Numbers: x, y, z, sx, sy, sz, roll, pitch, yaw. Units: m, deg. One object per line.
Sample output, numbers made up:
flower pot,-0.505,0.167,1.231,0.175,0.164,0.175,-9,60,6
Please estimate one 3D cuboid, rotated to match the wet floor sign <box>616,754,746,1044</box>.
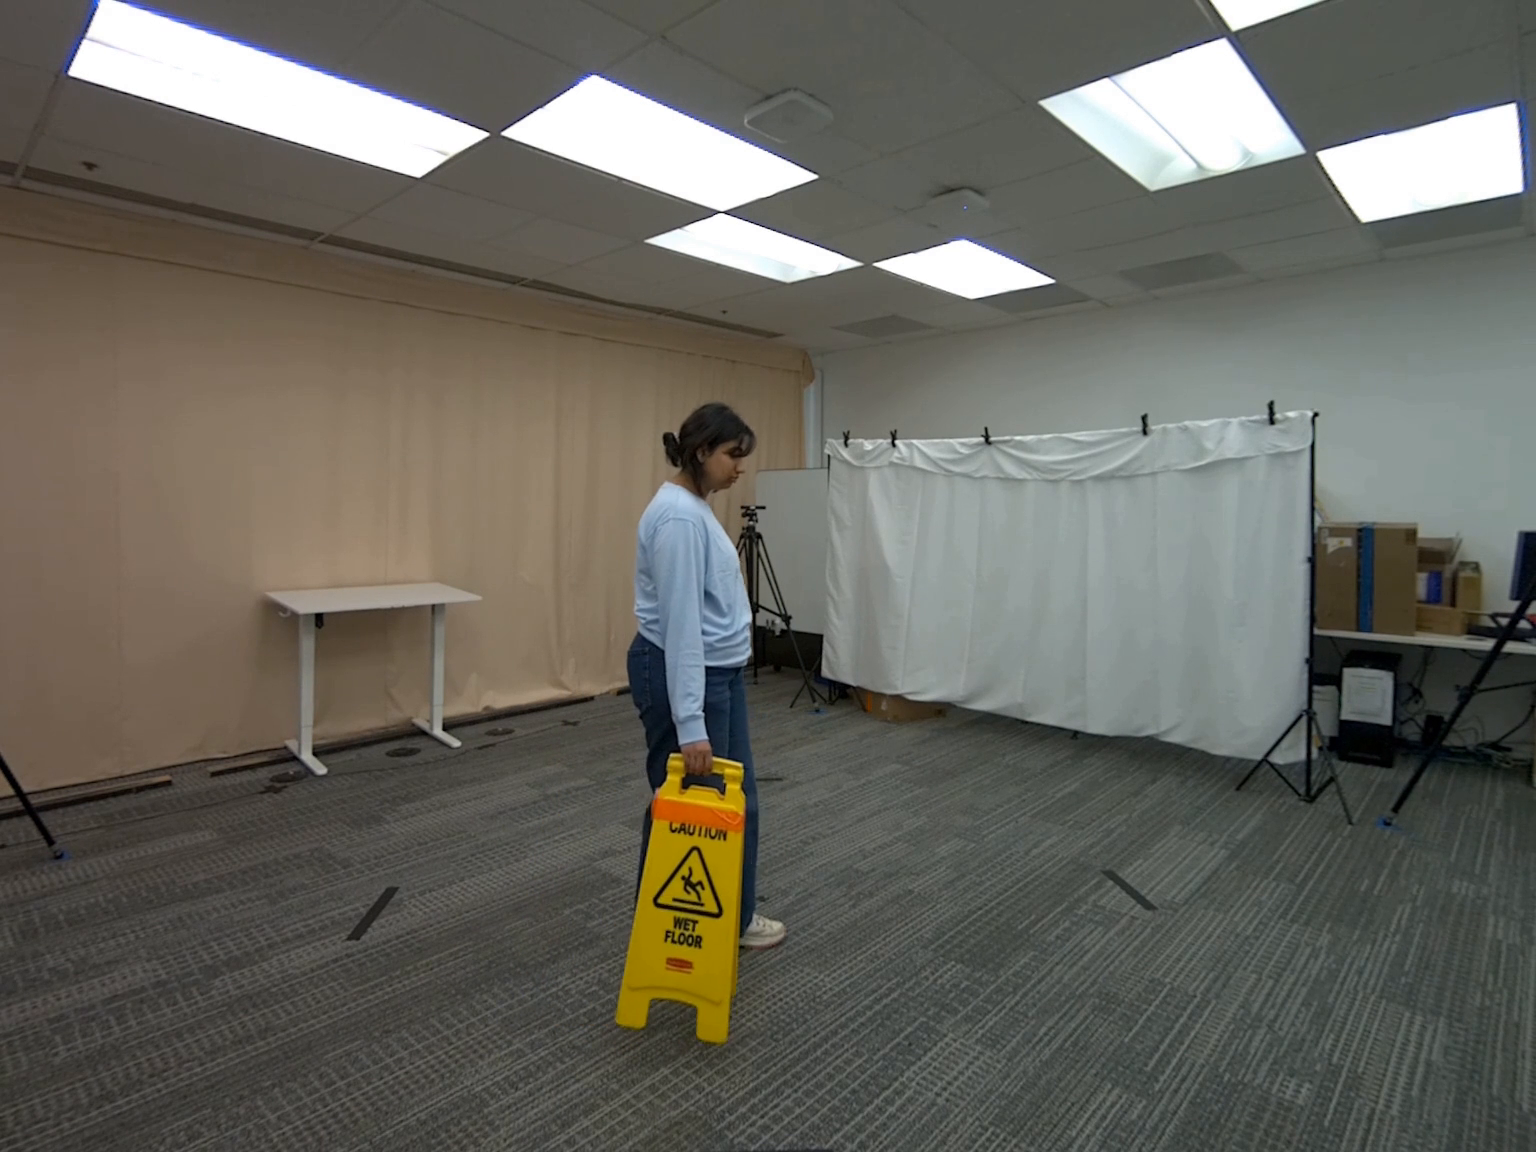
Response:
wet floor sign,-0.188,0.797,2.180,0.284,0.646,0.287,6,0,6
